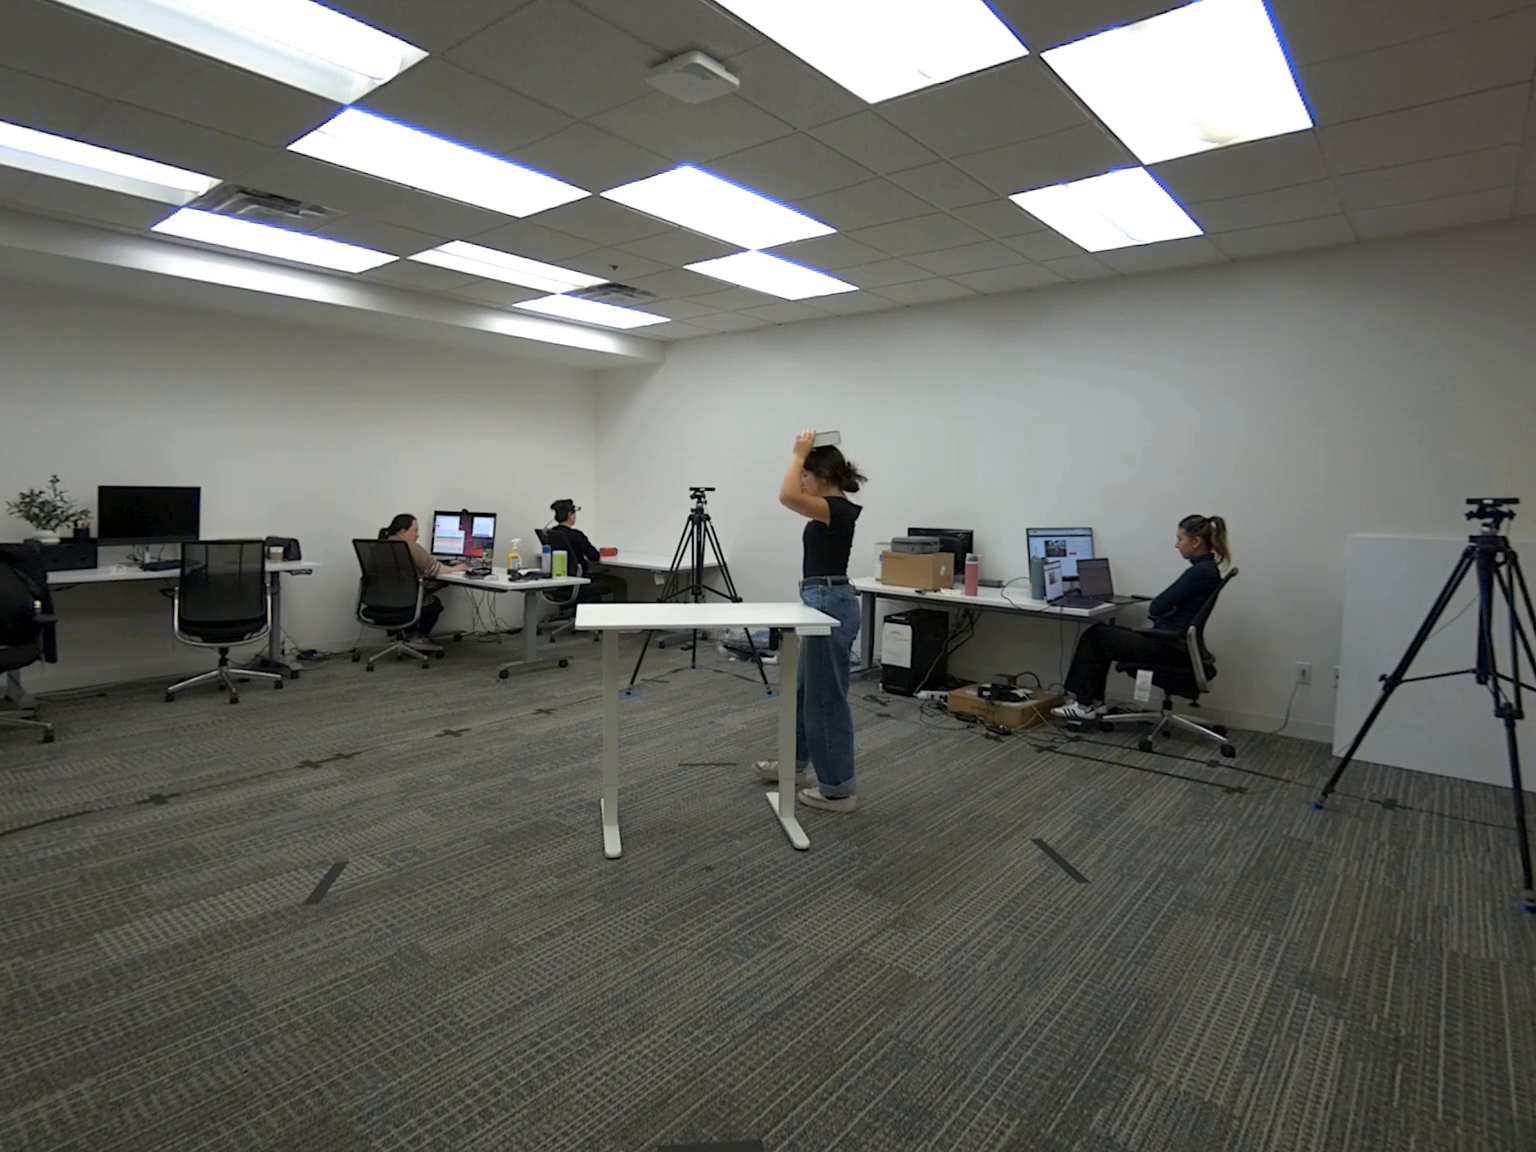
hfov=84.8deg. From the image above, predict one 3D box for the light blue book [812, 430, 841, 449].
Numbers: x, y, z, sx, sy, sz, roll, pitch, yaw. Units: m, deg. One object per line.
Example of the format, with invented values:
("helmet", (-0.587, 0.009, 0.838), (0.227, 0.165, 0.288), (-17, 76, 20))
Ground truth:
("light blue book", (0.221, -0.604, 3.756), (0.193, 0.059, 0.260), (-6, 7, 7))
